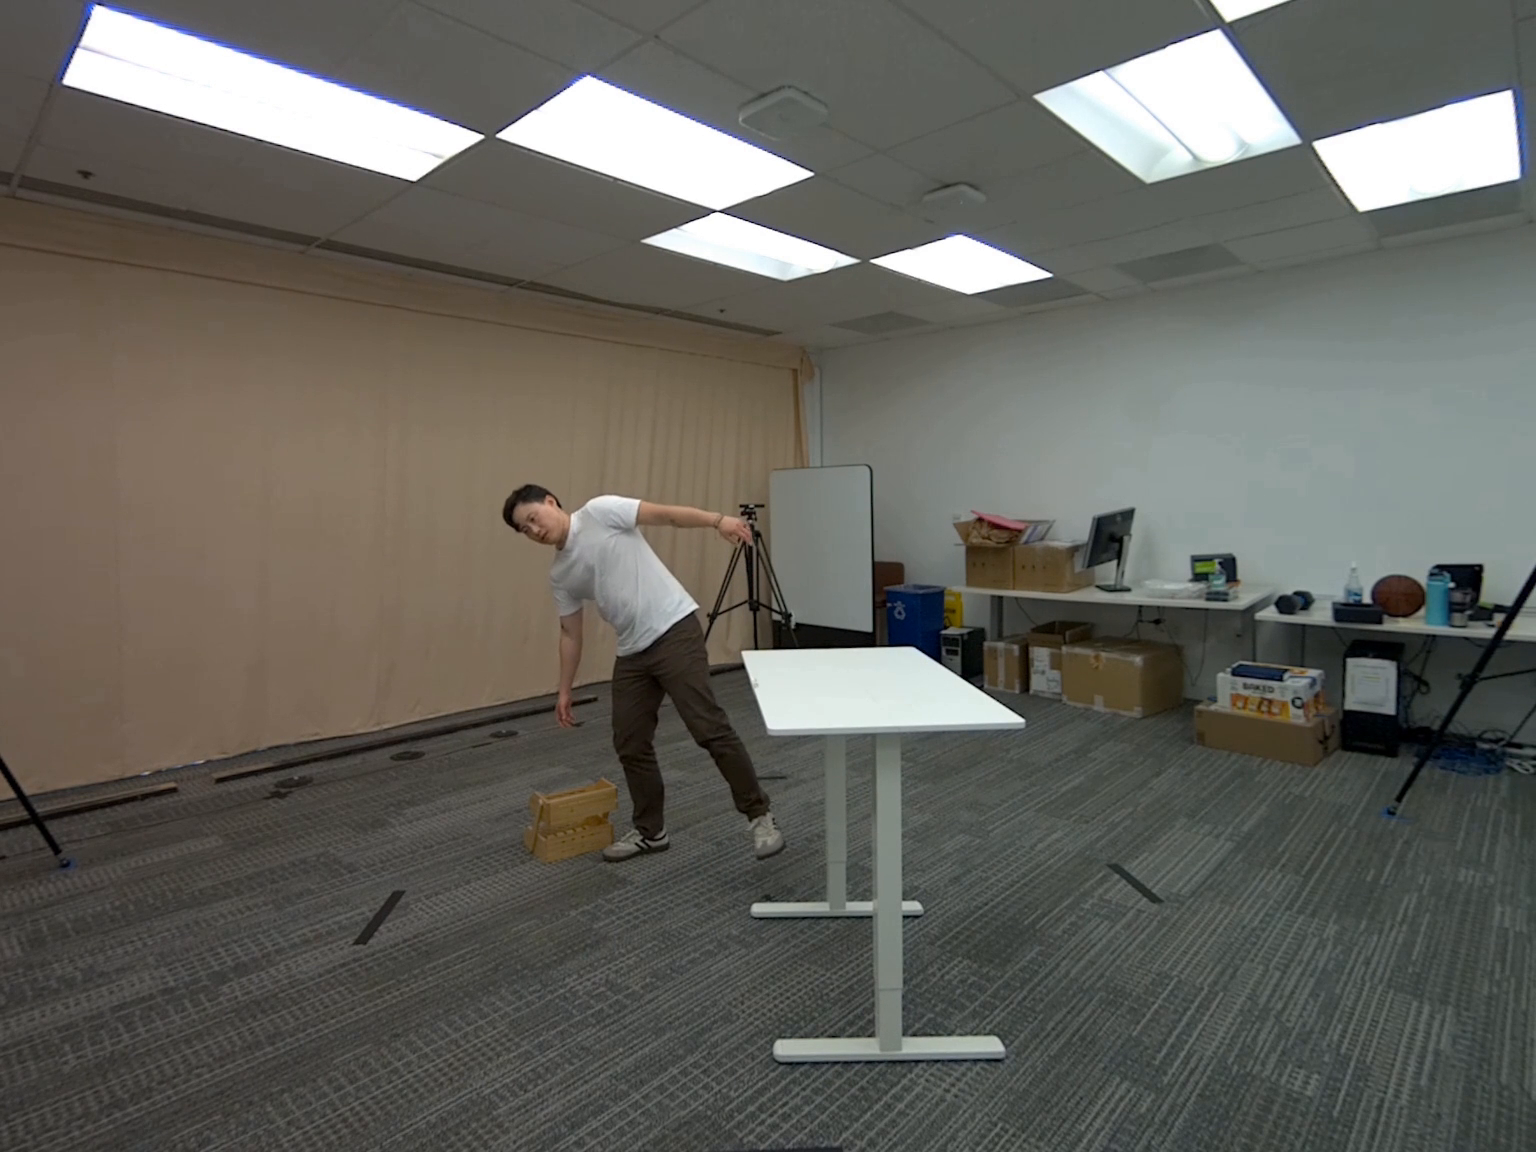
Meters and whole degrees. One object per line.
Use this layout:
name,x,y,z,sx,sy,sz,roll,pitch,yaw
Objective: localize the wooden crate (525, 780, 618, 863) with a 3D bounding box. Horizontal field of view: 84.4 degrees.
wooden crate,-0.825,0.987,3.482,0.315,0.272,0.311,-4,6,-33
